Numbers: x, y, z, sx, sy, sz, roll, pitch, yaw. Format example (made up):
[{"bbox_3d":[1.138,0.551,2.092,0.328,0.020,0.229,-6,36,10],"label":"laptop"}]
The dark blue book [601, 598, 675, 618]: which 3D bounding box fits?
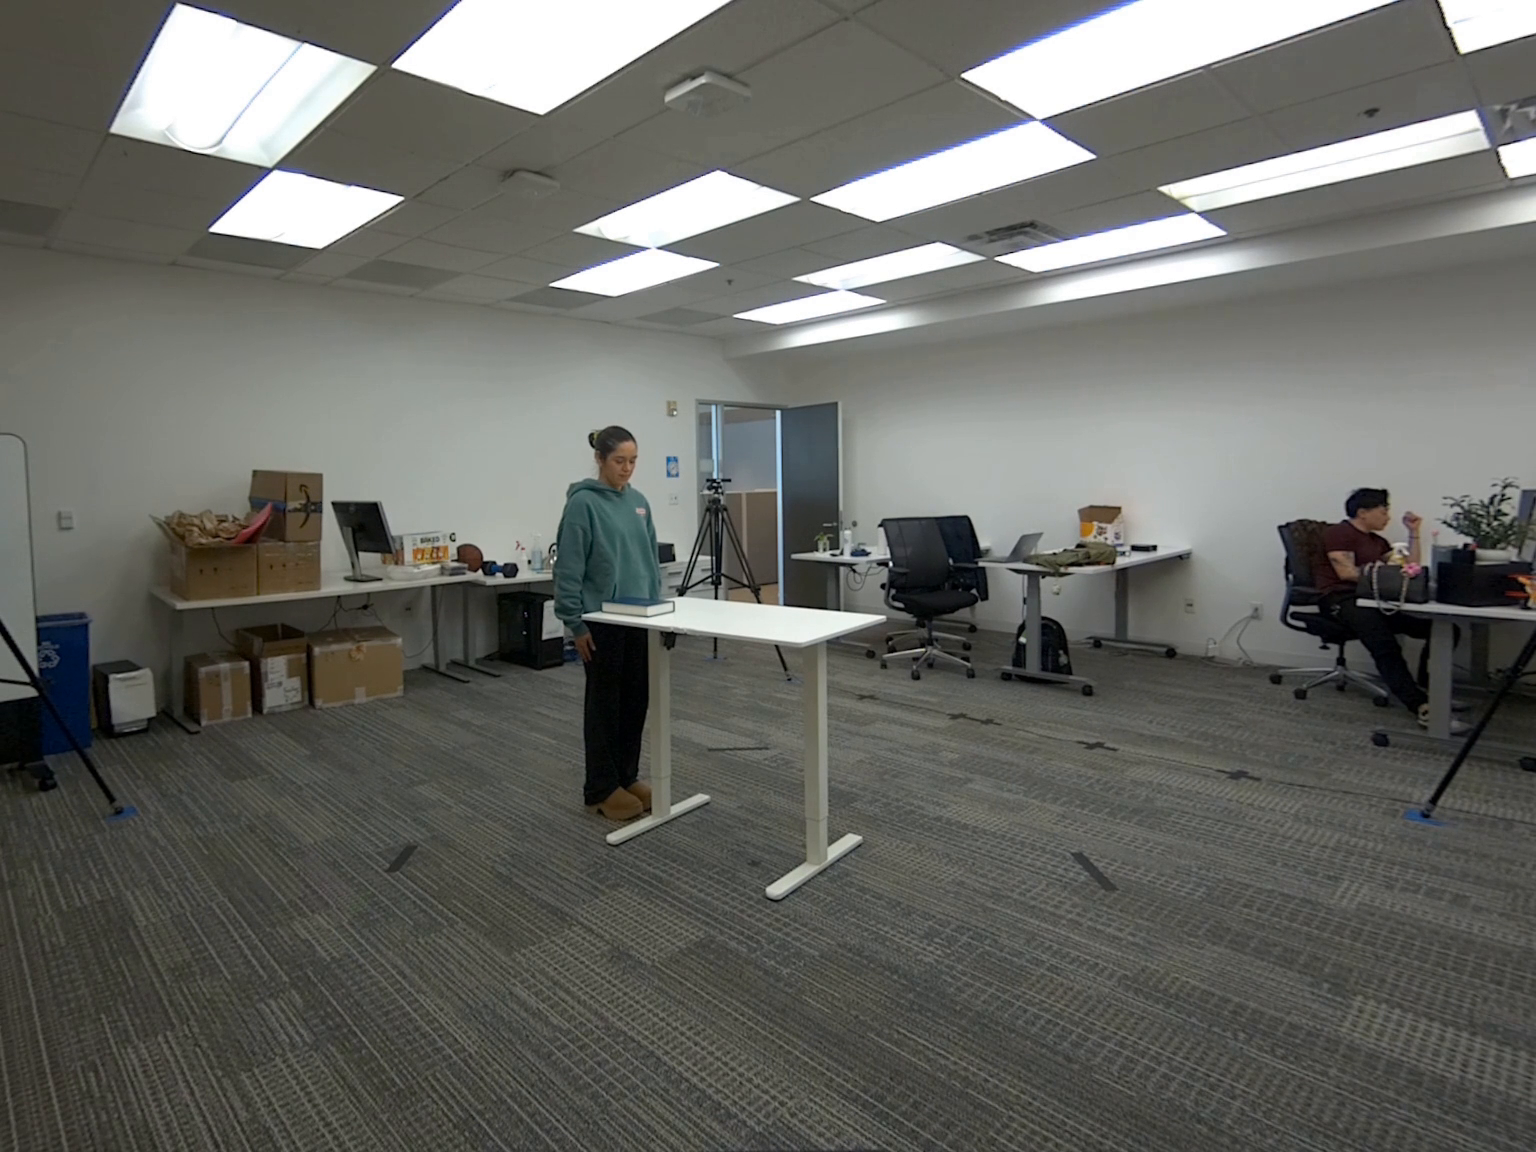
[{"bbox_3d":[-0.514,0.122,3.352,0.252,0.045,0.160,3,7,32],"label":"dark blue book"}]
